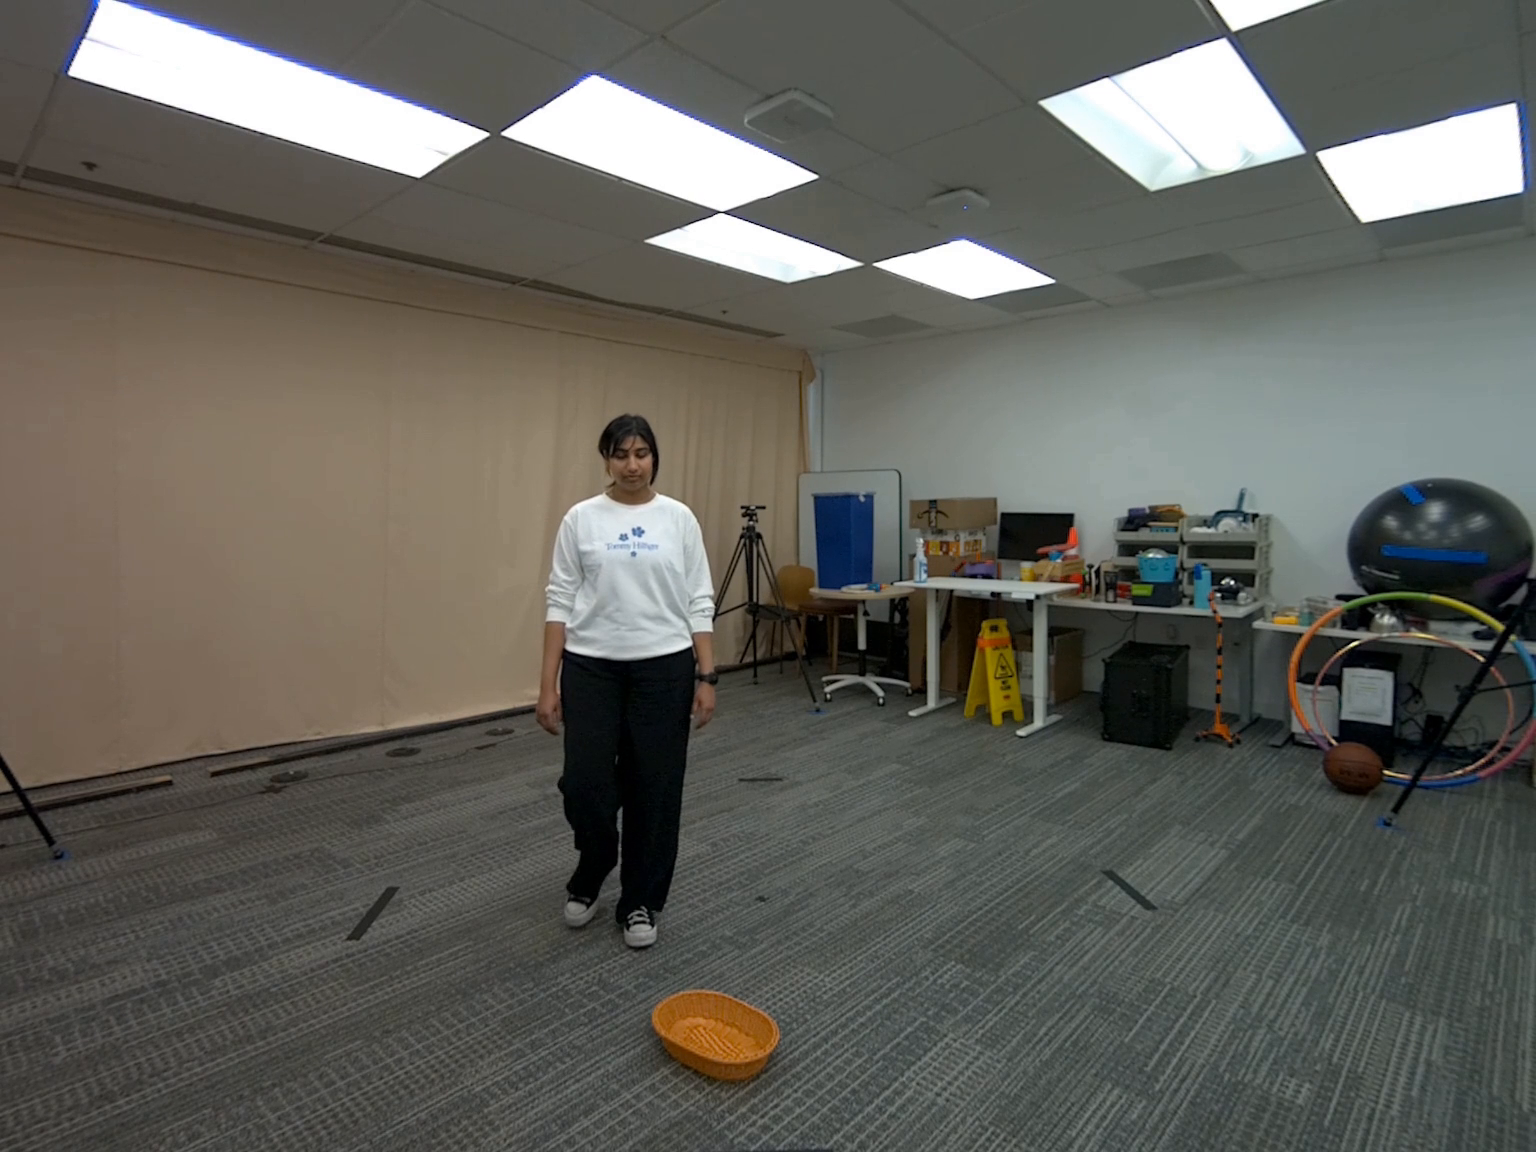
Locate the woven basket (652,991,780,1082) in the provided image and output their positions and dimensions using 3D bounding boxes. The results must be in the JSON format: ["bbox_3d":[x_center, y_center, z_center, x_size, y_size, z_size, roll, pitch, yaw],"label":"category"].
[{"bbox_3d":[-0.129,1.172,2.155,0.362,0.073,0.245,3,5,37],"label":"woven basket"}]
